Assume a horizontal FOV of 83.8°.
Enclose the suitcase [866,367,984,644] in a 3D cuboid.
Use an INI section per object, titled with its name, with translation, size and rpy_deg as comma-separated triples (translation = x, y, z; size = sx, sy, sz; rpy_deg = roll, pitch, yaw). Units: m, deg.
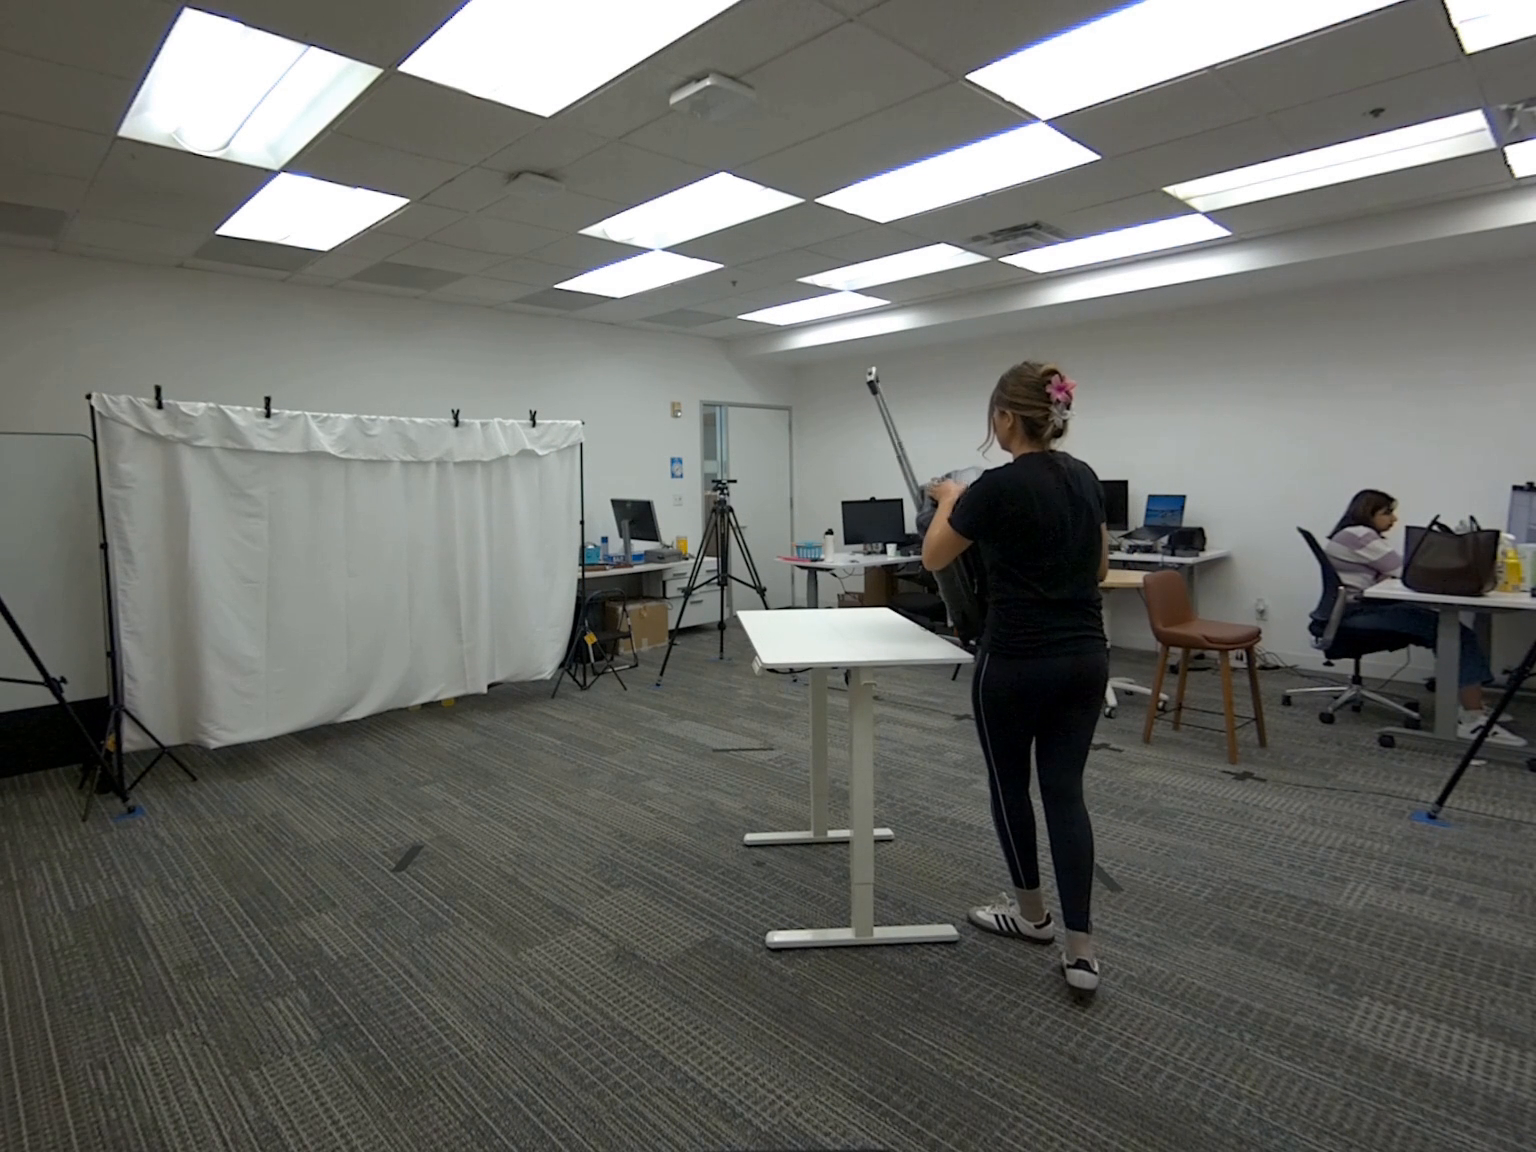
[suitcase]
translation = 0.609, -0.243, 2.777
size = 0.261, 0.957, 0.387
rpy_deg = -16, 21, 23
